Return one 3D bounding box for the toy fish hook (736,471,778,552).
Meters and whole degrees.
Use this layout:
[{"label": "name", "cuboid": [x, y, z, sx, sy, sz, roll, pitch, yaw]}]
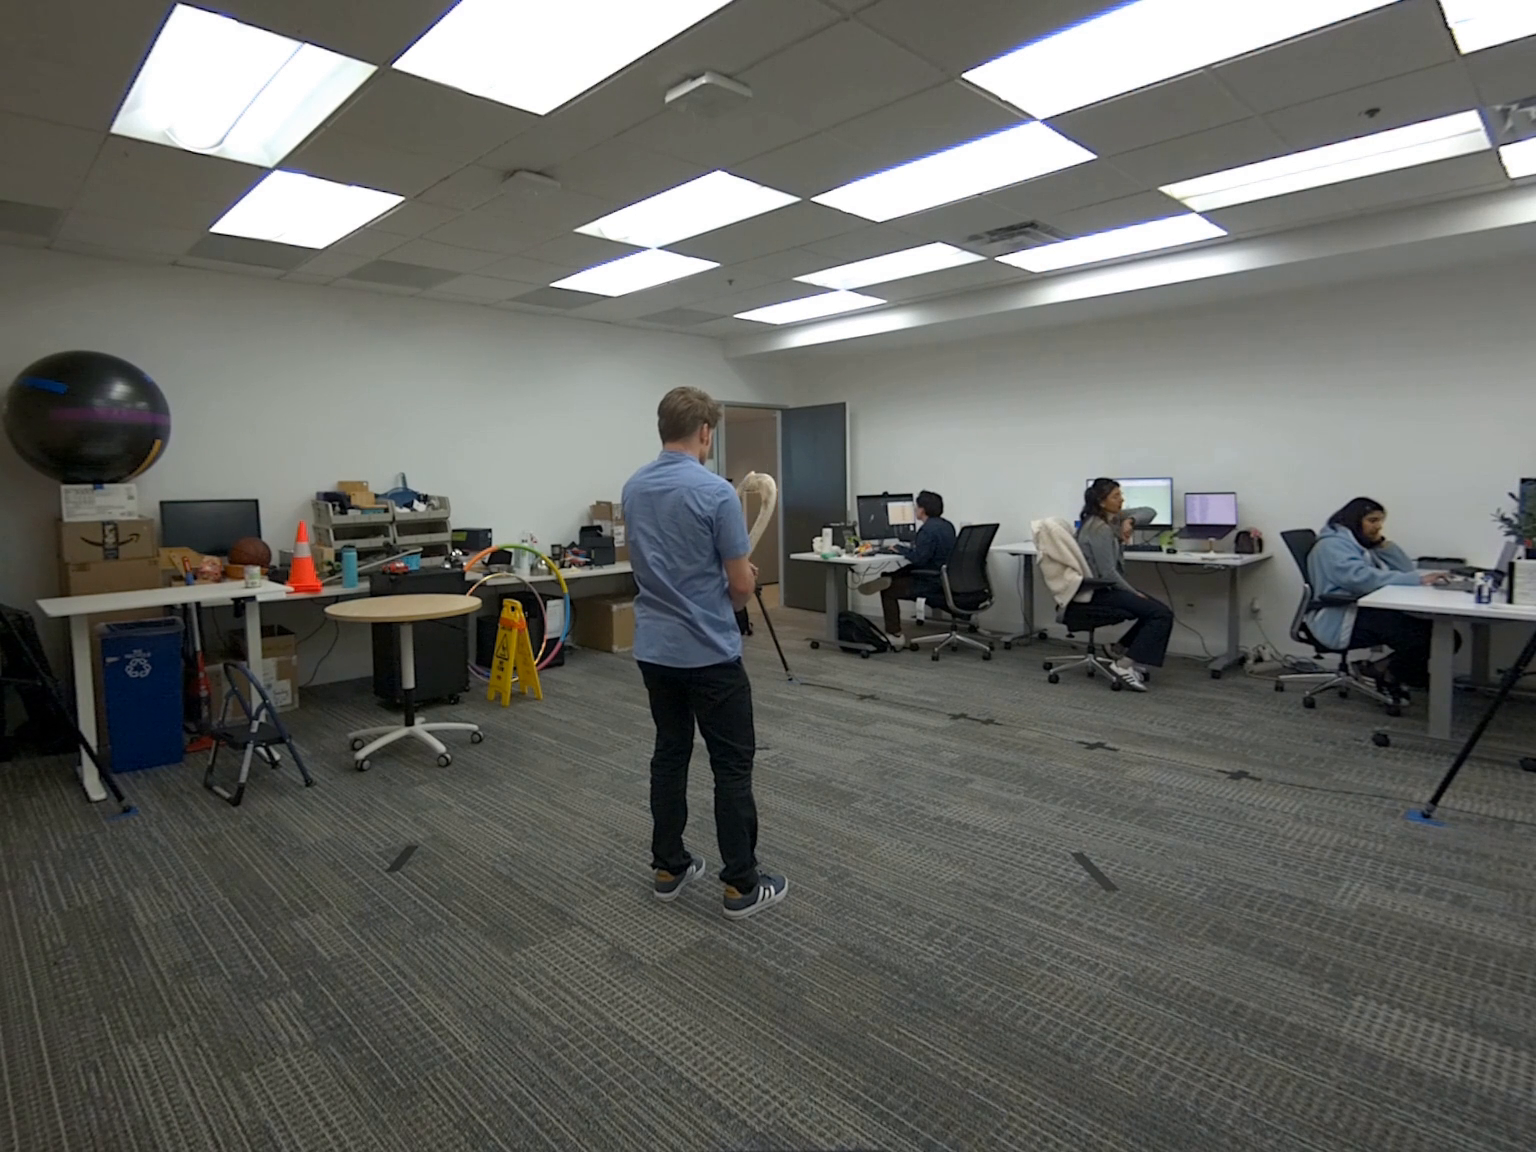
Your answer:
[{"label": "toy fish hook", "cuboid": [-0.101, -0.132, 3.127, 0.046, 0.507, 0.232, 21, -4, -39]}]
